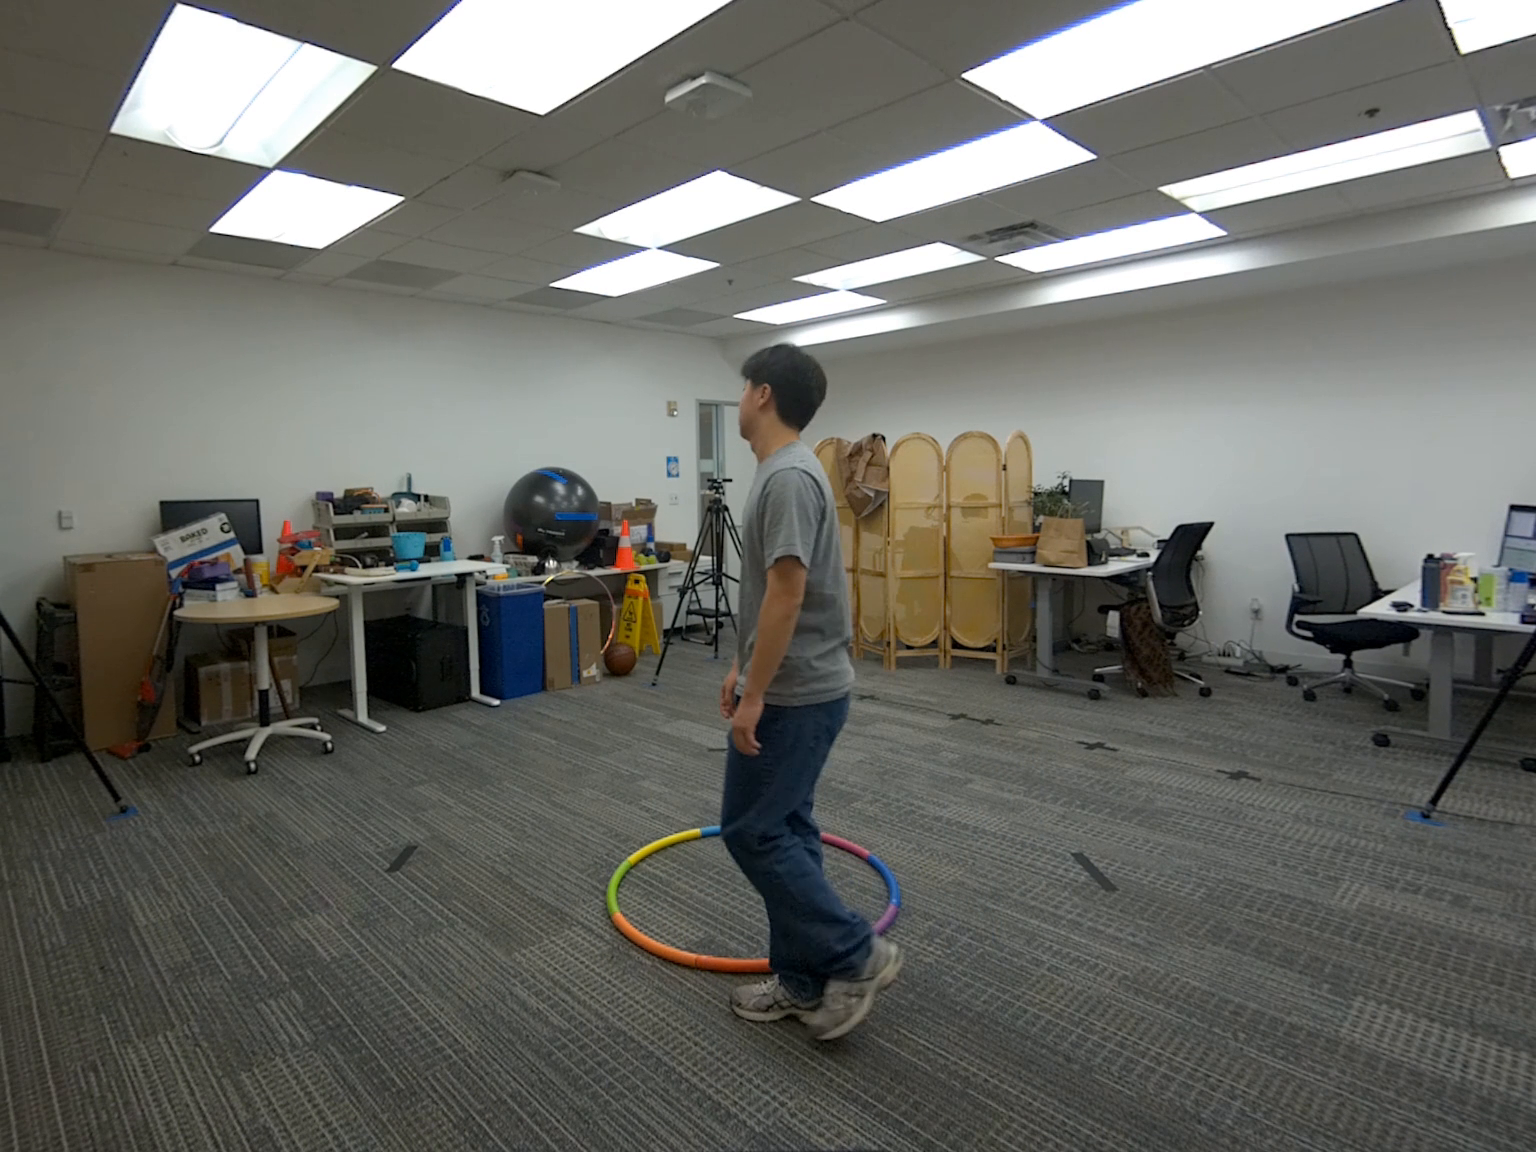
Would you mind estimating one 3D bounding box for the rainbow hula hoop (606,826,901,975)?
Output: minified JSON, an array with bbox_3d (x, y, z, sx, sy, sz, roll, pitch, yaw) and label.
[{"bbox_3d":[-0.053,1.039,2.900,0.978,0.035,0.984,-1,7,-2],"label":"rainbow hula hoop"}]
